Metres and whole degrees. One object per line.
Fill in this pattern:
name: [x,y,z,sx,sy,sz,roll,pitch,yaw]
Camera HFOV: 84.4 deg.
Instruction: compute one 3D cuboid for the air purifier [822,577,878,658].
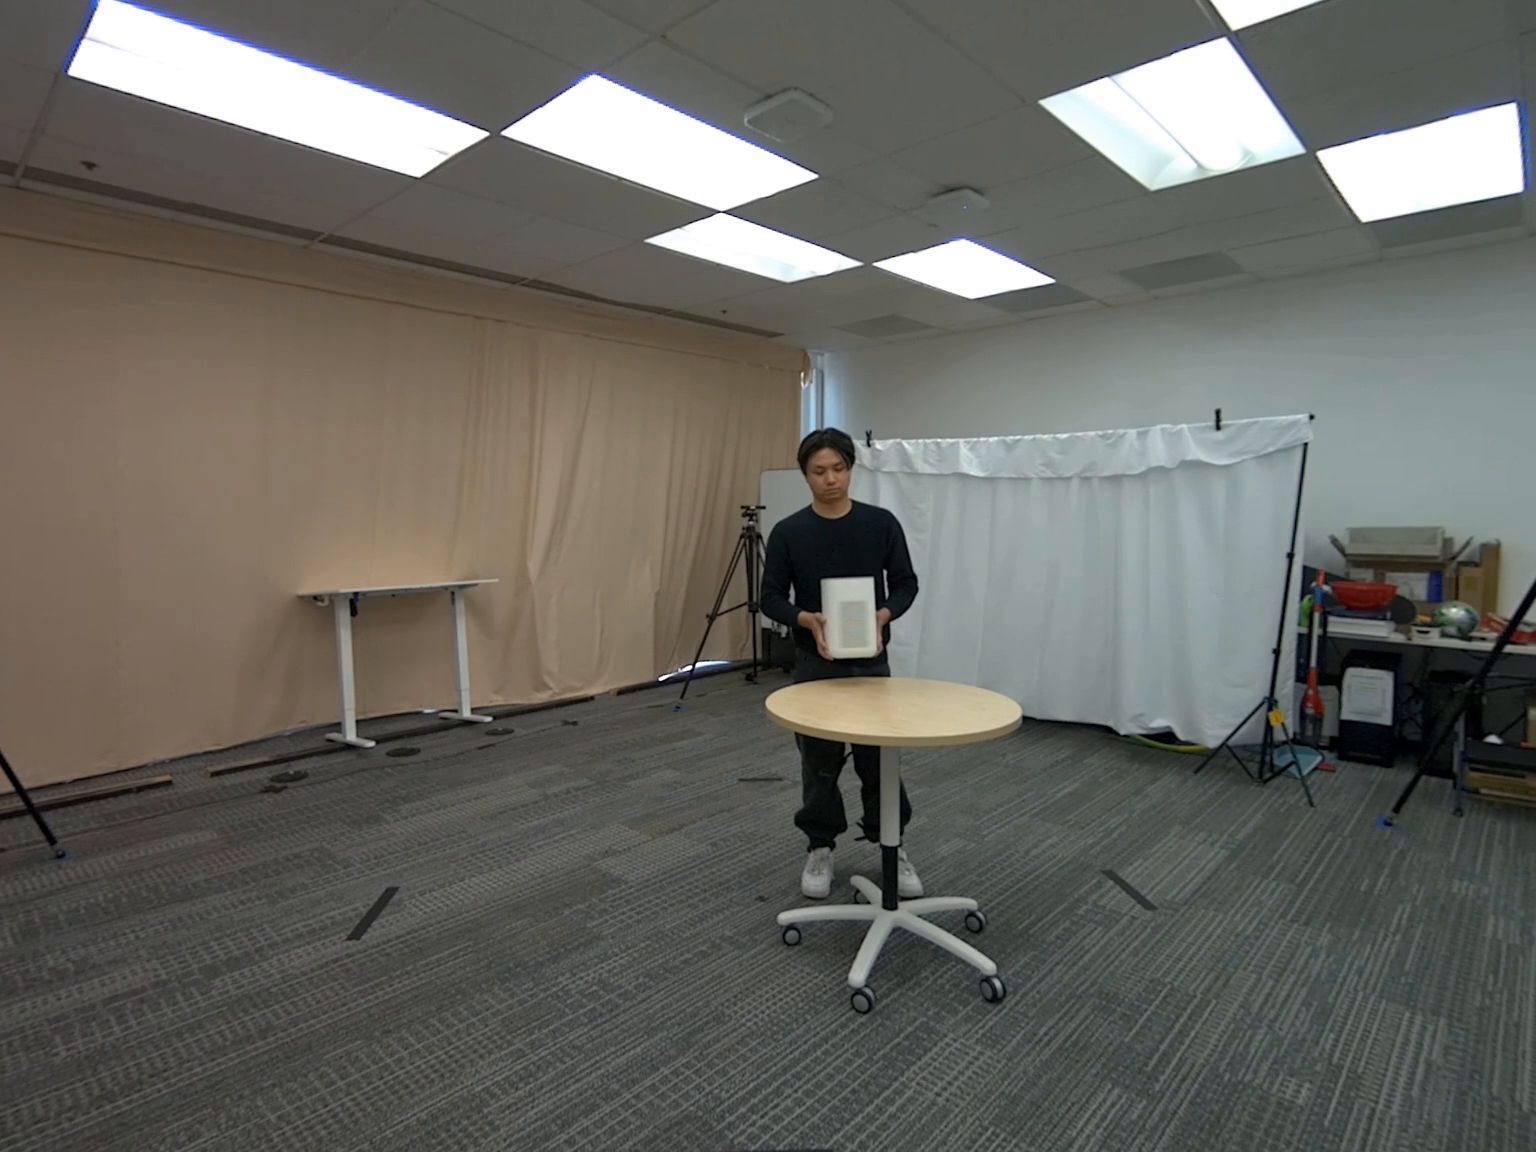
air purifier: [0.267,0.132,2.838,0.171,0.266,0.171,0,-2,-2]
